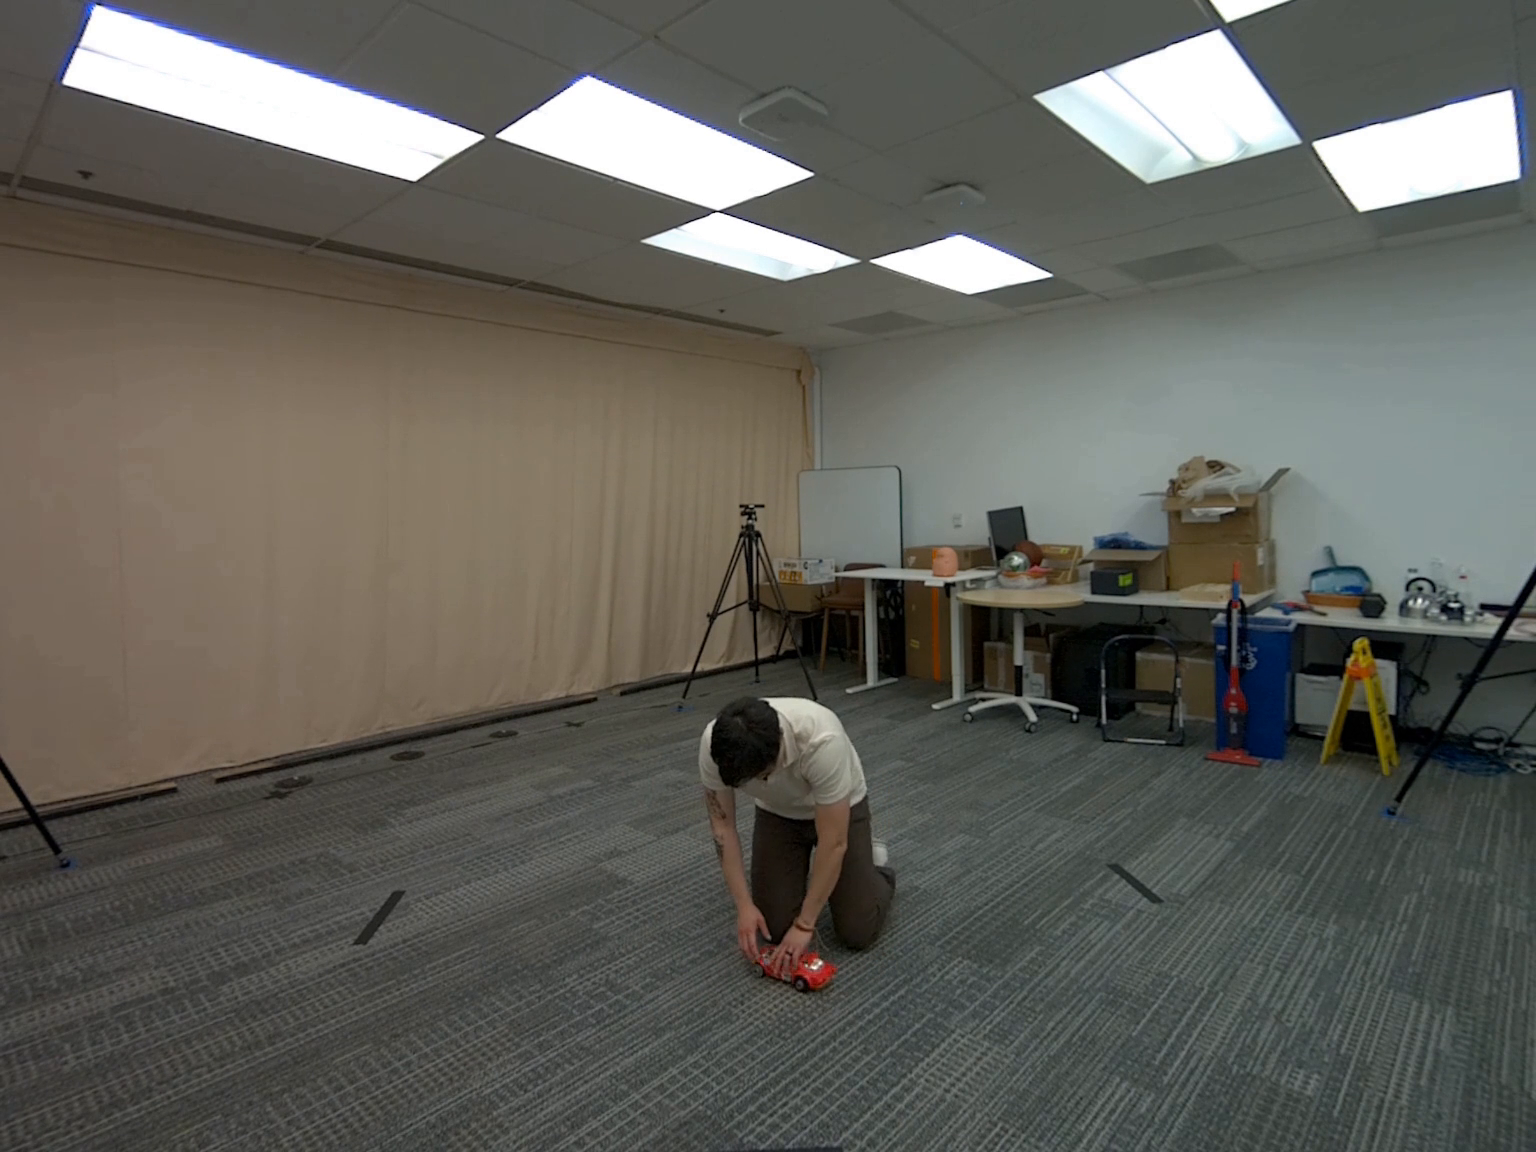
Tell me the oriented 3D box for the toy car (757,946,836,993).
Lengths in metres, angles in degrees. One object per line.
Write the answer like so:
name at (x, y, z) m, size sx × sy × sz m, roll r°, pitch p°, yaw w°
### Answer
toy car at (0.076, 1.146, 2.473) m, size 0.261 × 0.083 × 0.127 m, roll -11°, pitch -2°, yaw 34°
